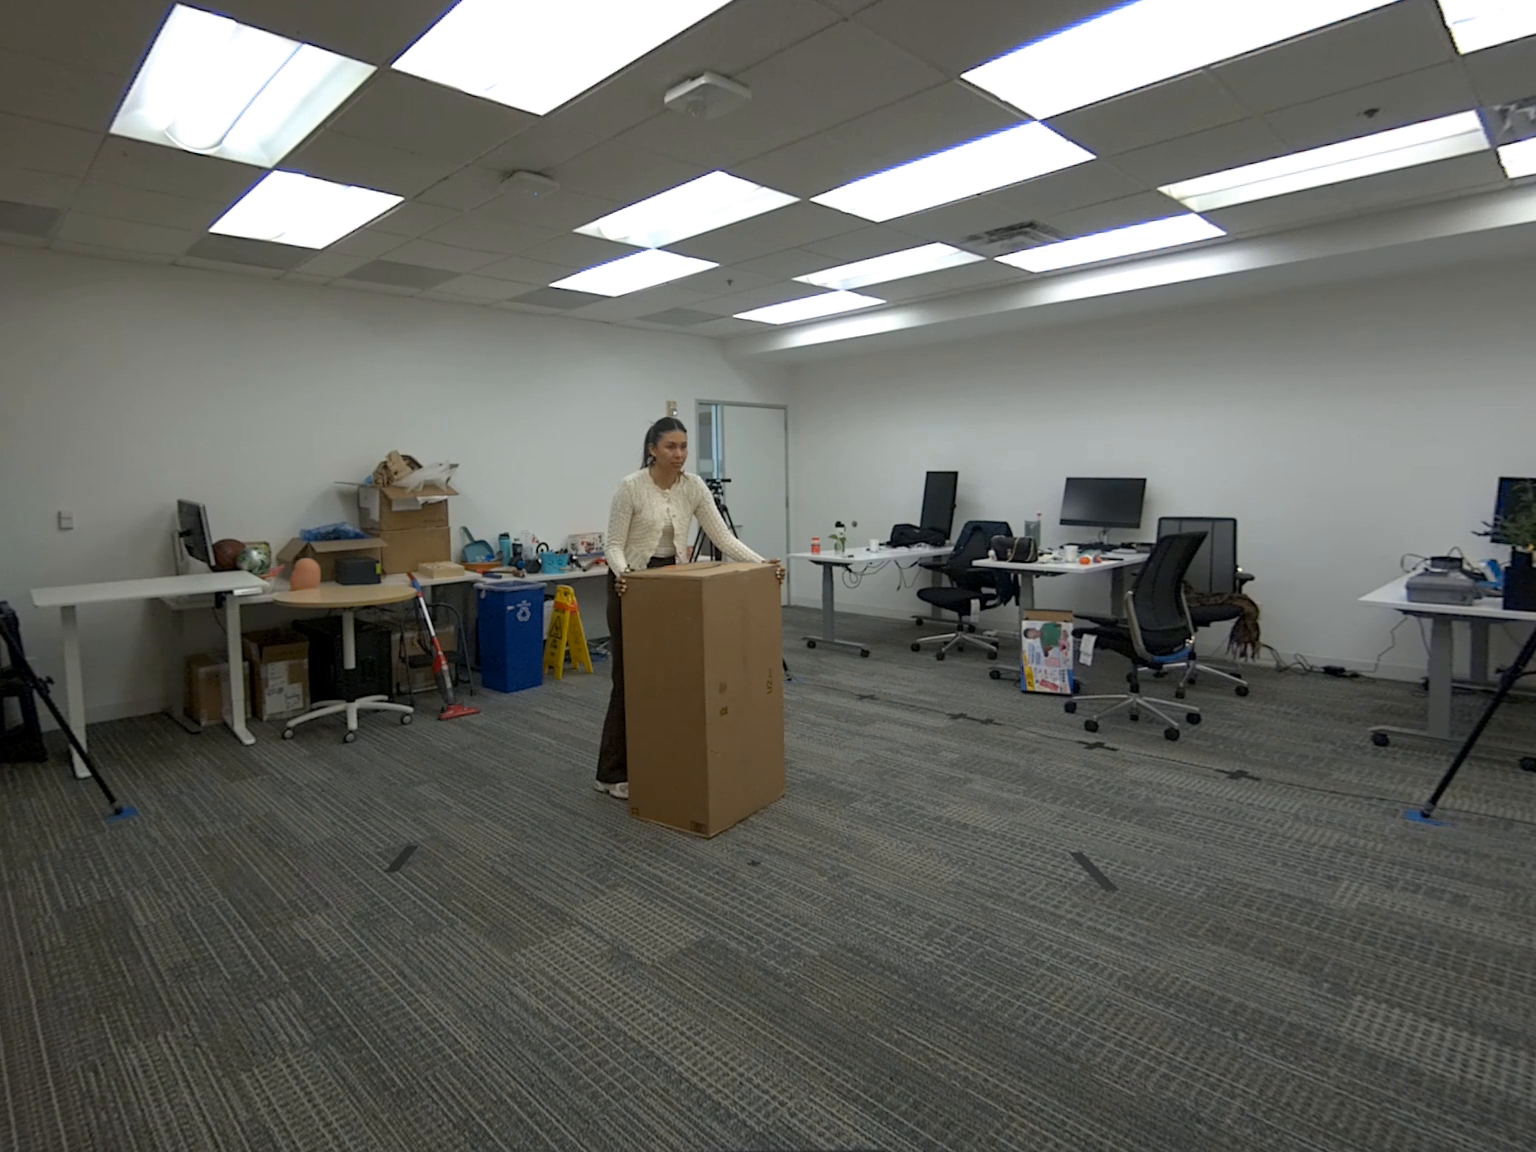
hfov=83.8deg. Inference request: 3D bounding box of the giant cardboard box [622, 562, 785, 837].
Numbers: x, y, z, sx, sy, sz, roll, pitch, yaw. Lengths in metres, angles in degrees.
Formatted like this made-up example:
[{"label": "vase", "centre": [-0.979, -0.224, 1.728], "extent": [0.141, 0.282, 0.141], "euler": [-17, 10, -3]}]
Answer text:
[{"label": "giant cardboard box", "centre": [-0.261, 0.479, 3.633], "extent": [0.438, 1.022, 0.563], "euler": [2, 4, 35]}]
